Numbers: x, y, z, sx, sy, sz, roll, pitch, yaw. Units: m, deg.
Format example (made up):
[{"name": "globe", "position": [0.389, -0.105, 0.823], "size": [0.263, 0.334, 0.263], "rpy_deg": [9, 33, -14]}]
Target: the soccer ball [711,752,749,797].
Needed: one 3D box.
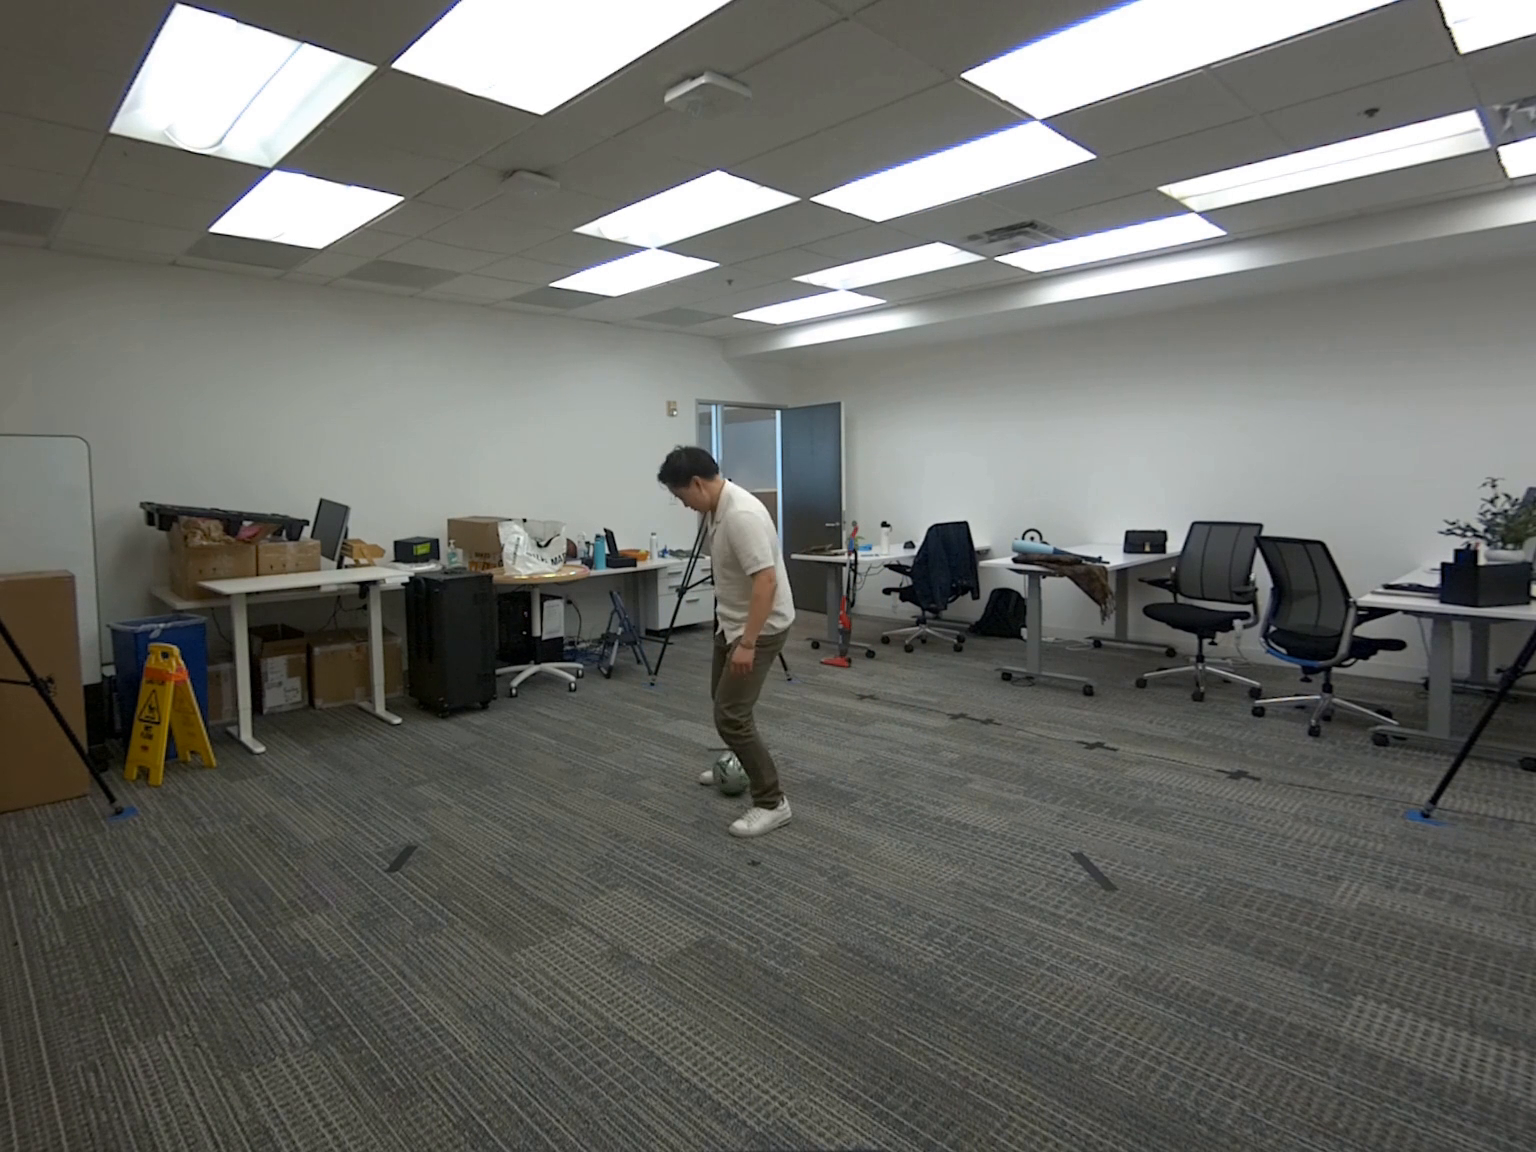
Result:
[{"name": "soccer ball", "position": [-0.156, 0.874, 3.806], "size": [0.187, 0.187, 0.188], "rpy_deg": [-1, 5, -2]}]
